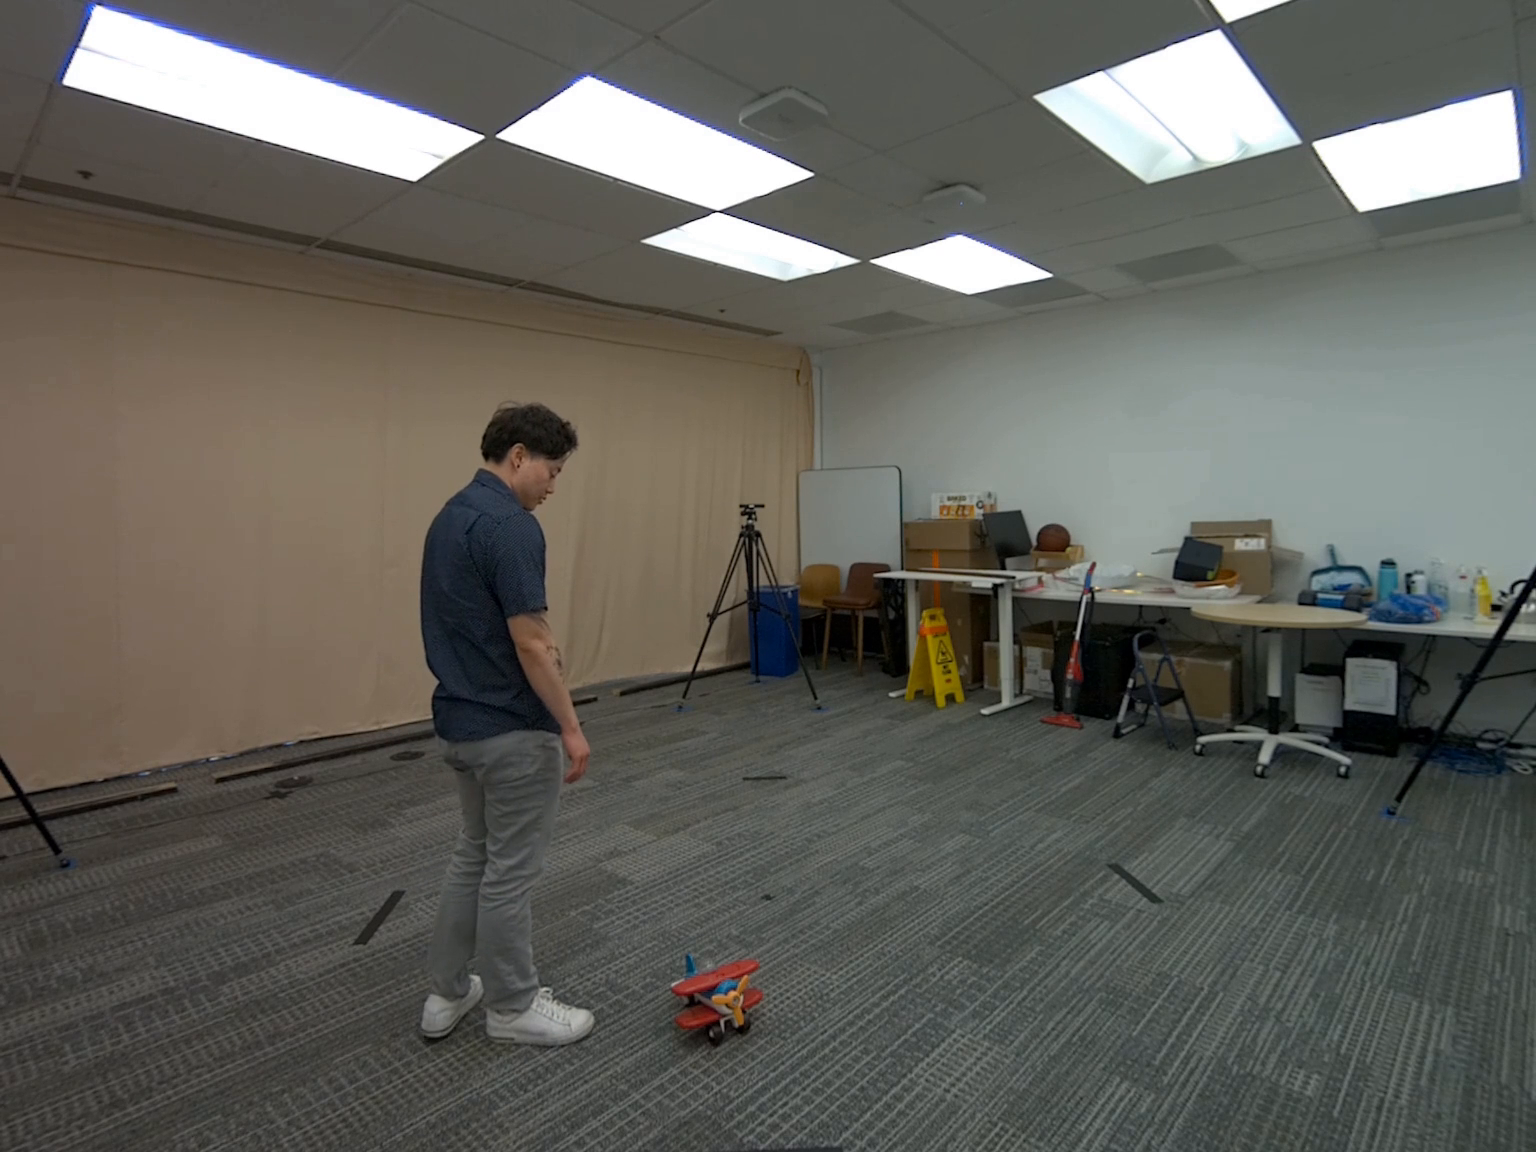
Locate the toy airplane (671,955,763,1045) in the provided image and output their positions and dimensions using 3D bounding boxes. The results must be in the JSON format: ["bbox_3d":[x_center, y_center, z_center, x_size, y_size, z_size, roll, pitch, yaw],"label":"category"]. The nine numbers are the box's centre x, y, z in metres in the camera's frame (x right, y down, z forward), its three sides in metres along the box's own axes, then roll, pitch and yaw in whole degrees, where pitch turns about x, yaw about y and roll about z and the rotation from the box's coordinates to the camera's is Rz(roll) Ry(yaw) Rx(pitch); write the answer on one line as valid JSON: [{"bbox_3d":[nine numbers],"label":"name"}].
[{"bbox_3d":[-0.166,1.130,2.258,0.266,0.156,0.245,2,5,29],"label":"toy airplane"}]
